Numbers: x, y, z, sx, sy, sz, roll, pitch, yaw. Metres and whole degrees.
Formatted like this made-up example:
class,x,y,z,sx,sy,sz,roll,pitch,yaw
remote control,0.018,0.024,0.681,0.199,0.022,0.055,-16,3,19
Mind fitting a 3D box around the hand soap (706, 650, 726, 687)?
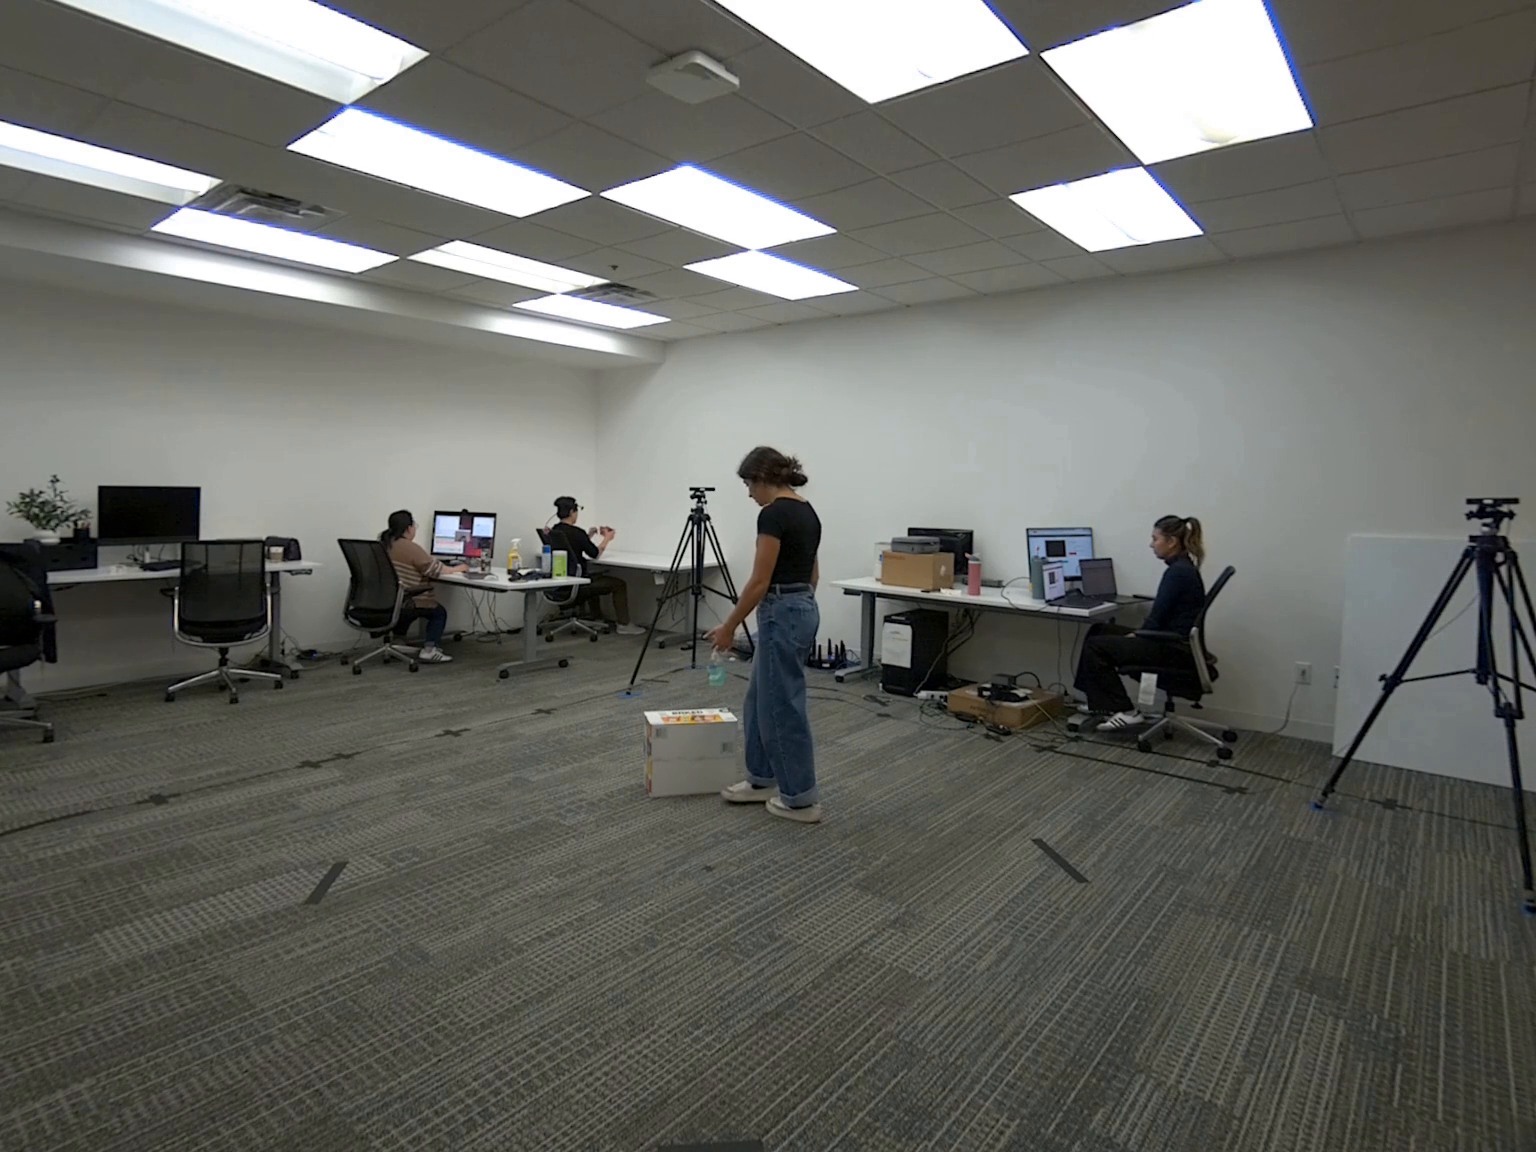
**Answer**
class,x,y,z,sx,sy,sz,roll,pitch,yaw
hand soap,-0.234,0.373,3.578,0.086,0.169,0.042,-3,-3,14
